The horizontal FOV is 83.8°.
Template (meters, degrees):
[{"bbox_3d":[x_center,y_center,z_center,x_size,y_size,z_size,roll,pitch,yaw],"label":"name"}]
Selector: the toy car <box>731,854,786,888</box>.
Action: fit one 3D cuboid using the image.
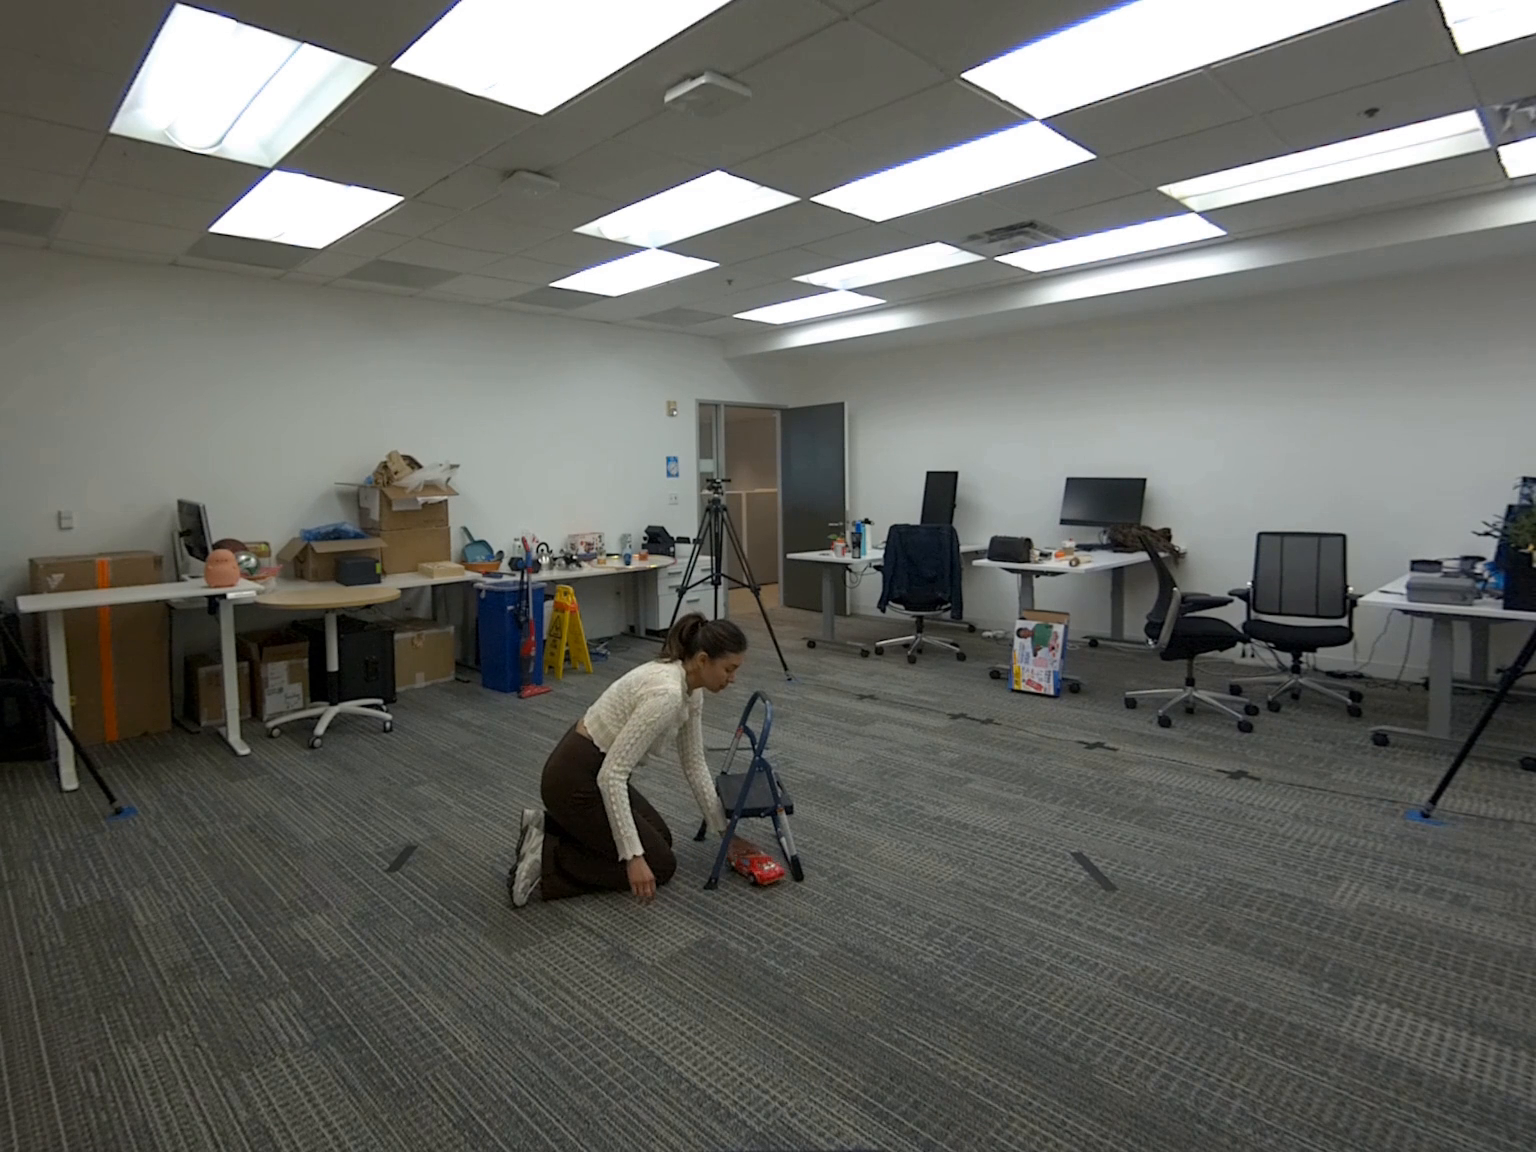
[{"bbox_3d":[-0.044,1.027,2.978,0.127,0.083,0.260,-5,-3,-33],"label":"toy car"}]
